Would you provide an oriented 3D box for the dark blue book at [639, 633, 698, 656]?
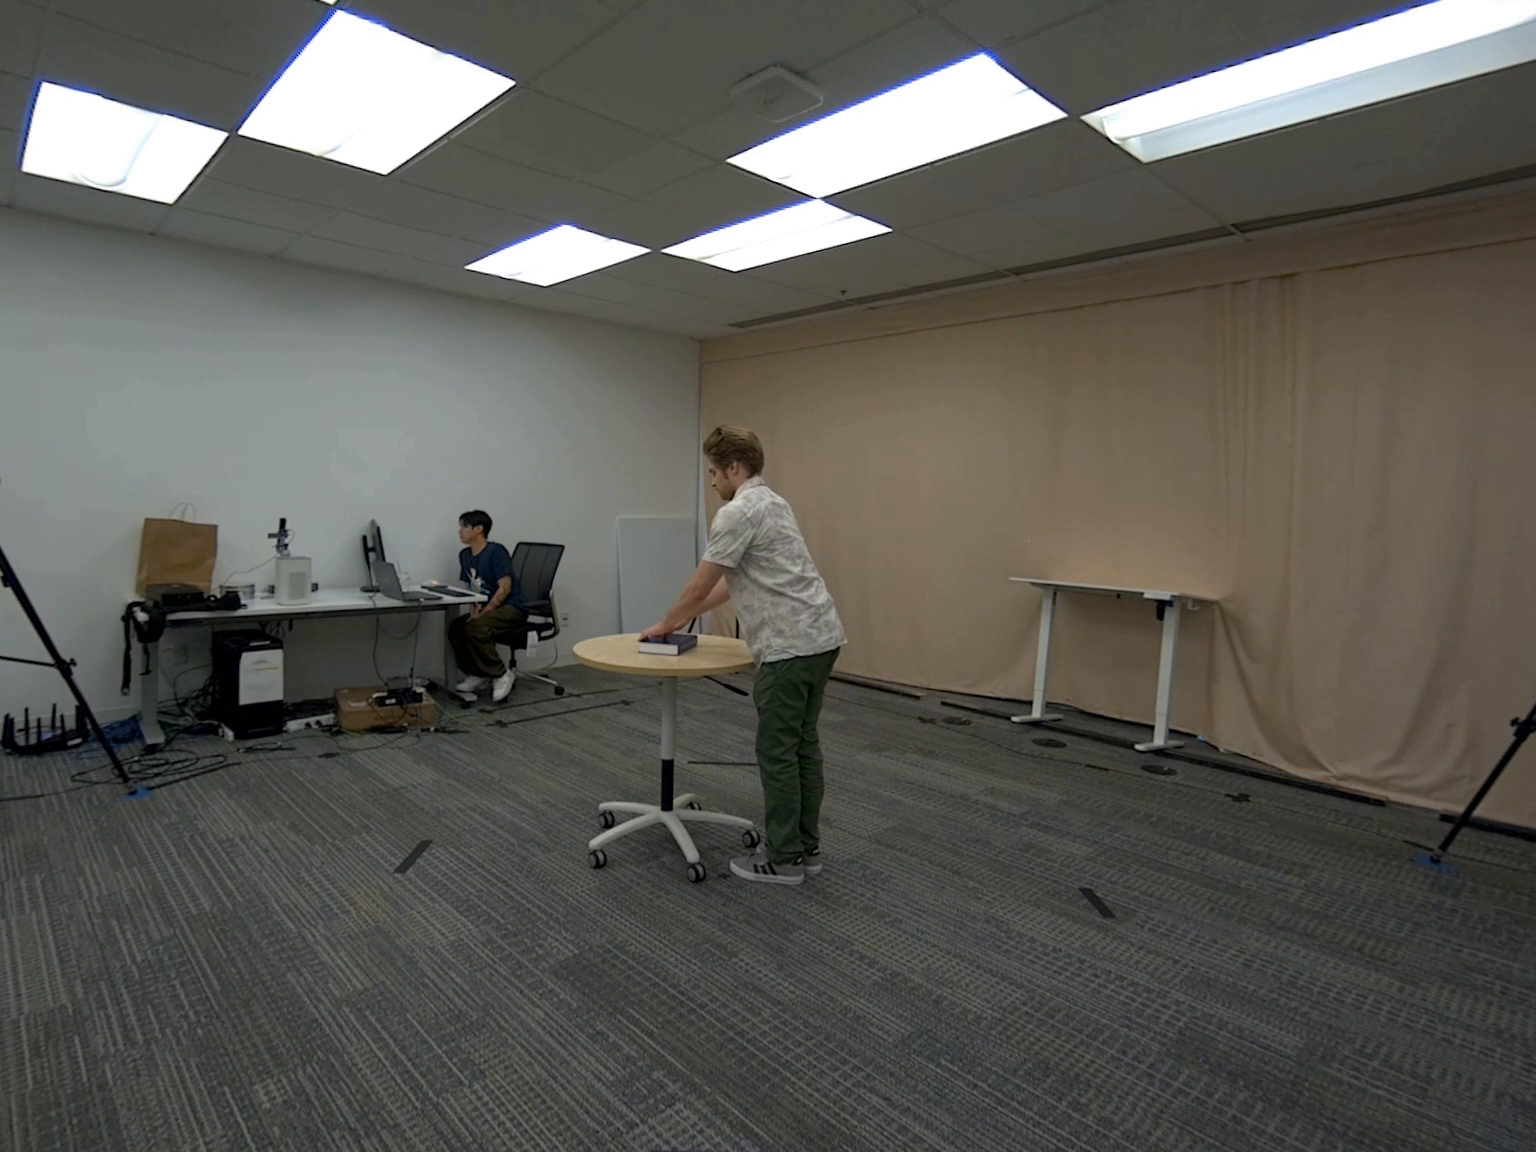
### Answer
[{"bbox_3d":[-0.399,0.268,3.343,0.165,0.045,0.243,3,5,13],"label":"dark blue book"}]
